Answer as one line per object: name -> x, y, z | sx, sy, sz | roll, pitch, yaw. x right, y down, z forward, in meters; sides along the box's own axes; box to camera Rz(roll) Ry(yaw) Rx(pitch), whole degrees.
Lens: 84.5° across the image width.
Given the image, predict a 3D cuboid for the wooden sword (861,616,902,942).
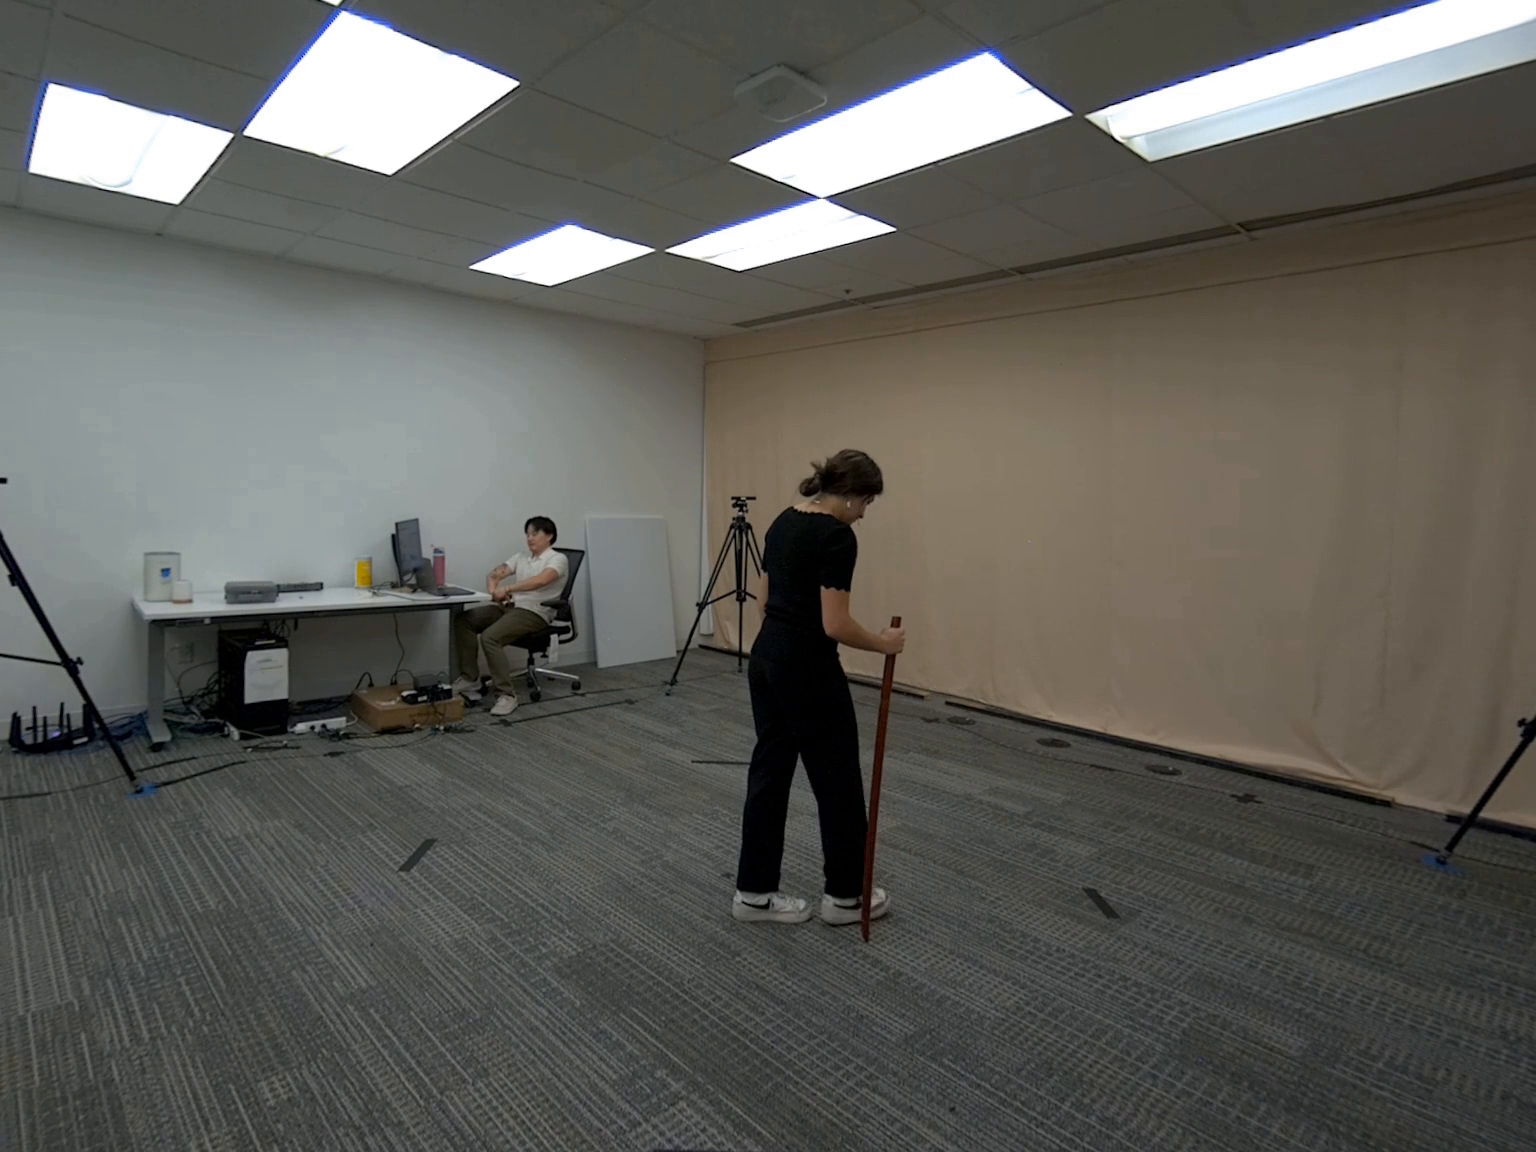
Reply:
wooden sword -> 0.347, 0.657, 2.693 | 0.024, 1.028, 0.051 | 7, -6, 4
